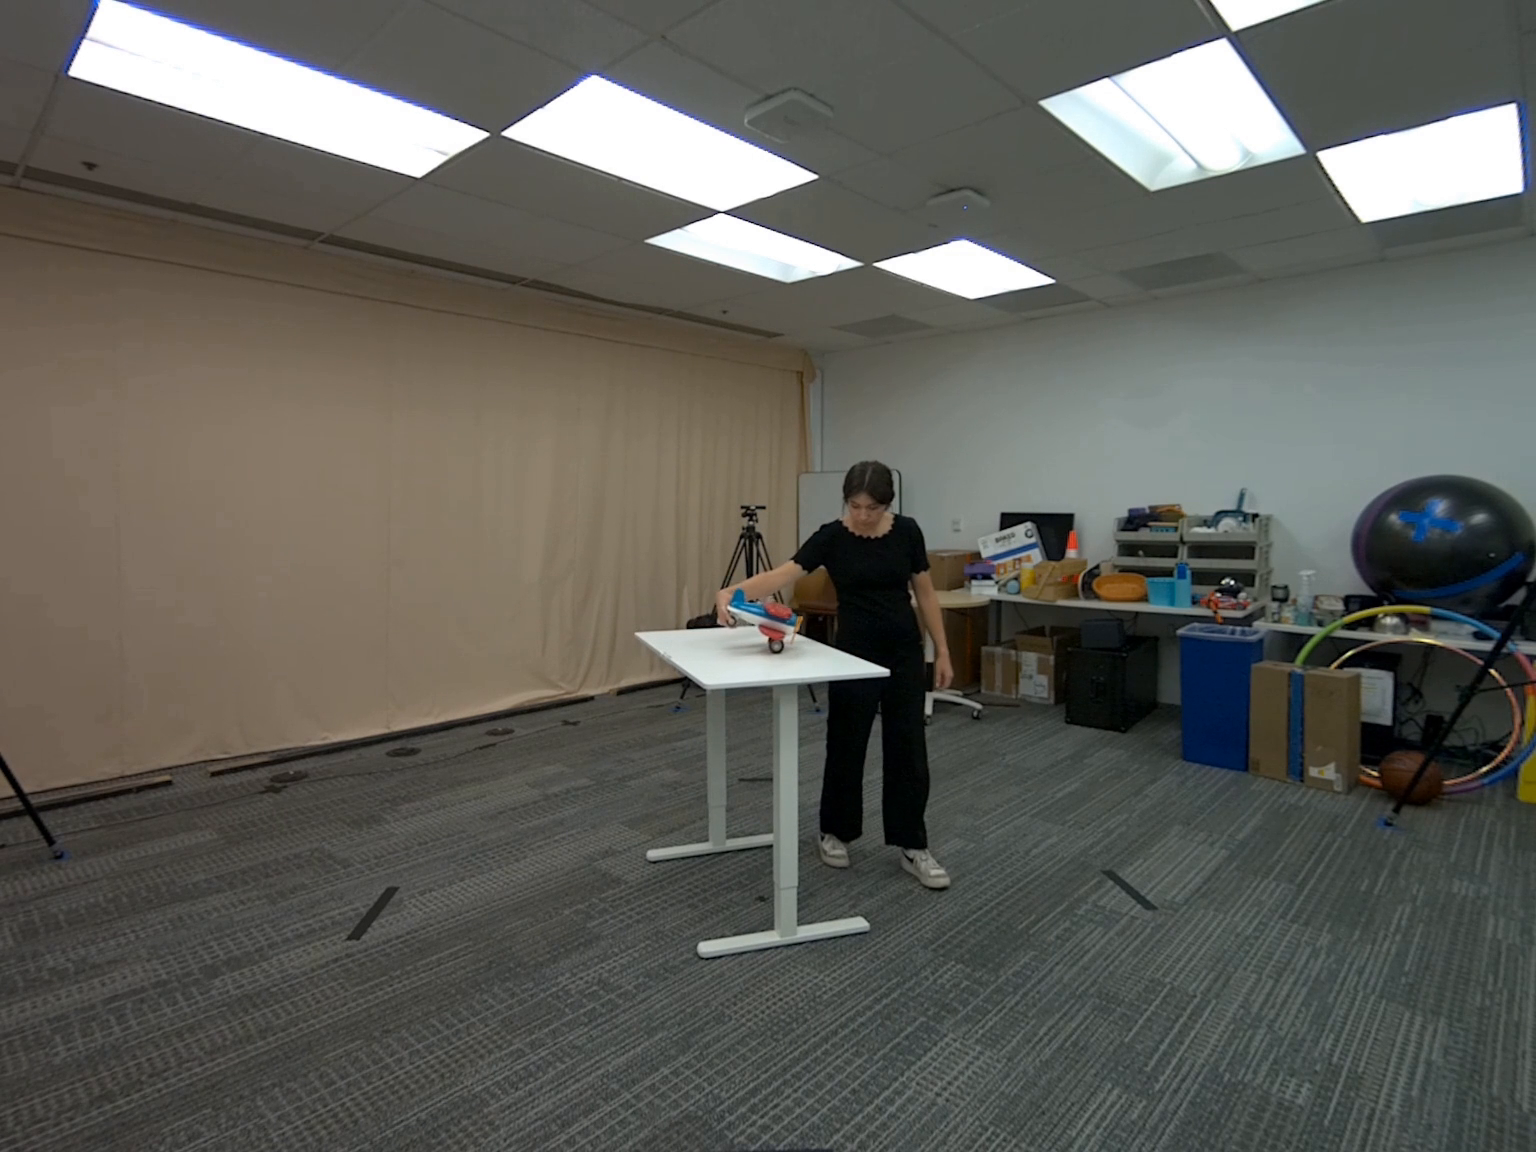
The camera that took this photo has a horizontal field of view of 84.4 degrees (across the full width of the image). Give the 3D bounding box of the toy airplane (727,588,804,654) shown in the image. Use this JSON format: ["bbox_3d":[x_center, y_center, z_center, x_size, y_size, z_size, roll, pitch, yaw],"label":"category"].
[{"bbox_3d":[-0.010,0.157,2.929,0.251,0.156,0.259,29,4,-29],"label":"toy airplane"}]
